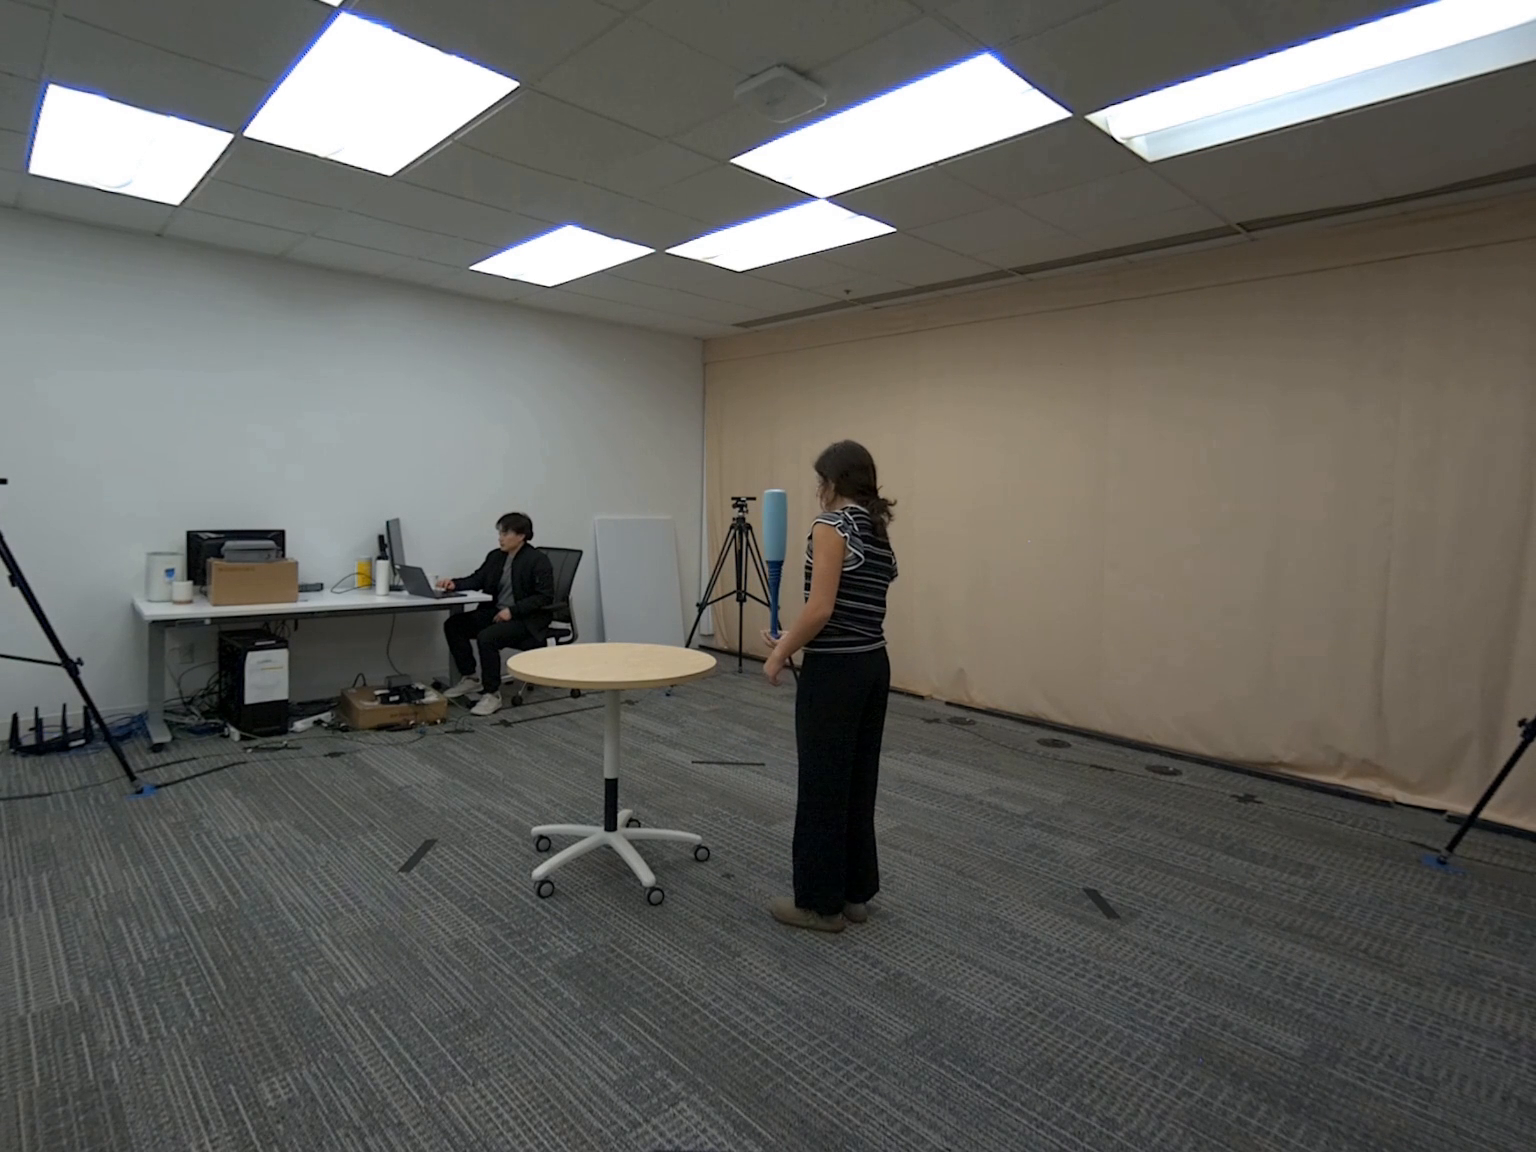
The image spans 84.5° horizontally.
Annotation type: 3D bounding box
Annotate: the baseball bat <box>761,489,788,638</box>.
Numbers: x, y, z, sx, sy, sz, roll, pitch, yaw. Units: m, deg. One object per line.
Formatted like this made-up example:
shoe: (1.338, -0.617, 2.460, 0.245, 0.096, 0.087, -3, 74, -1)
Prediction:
baseball bat: (0.025, -0.033, 2.997, 0.089, 0.542, 0.089, 0, 2, -1)
